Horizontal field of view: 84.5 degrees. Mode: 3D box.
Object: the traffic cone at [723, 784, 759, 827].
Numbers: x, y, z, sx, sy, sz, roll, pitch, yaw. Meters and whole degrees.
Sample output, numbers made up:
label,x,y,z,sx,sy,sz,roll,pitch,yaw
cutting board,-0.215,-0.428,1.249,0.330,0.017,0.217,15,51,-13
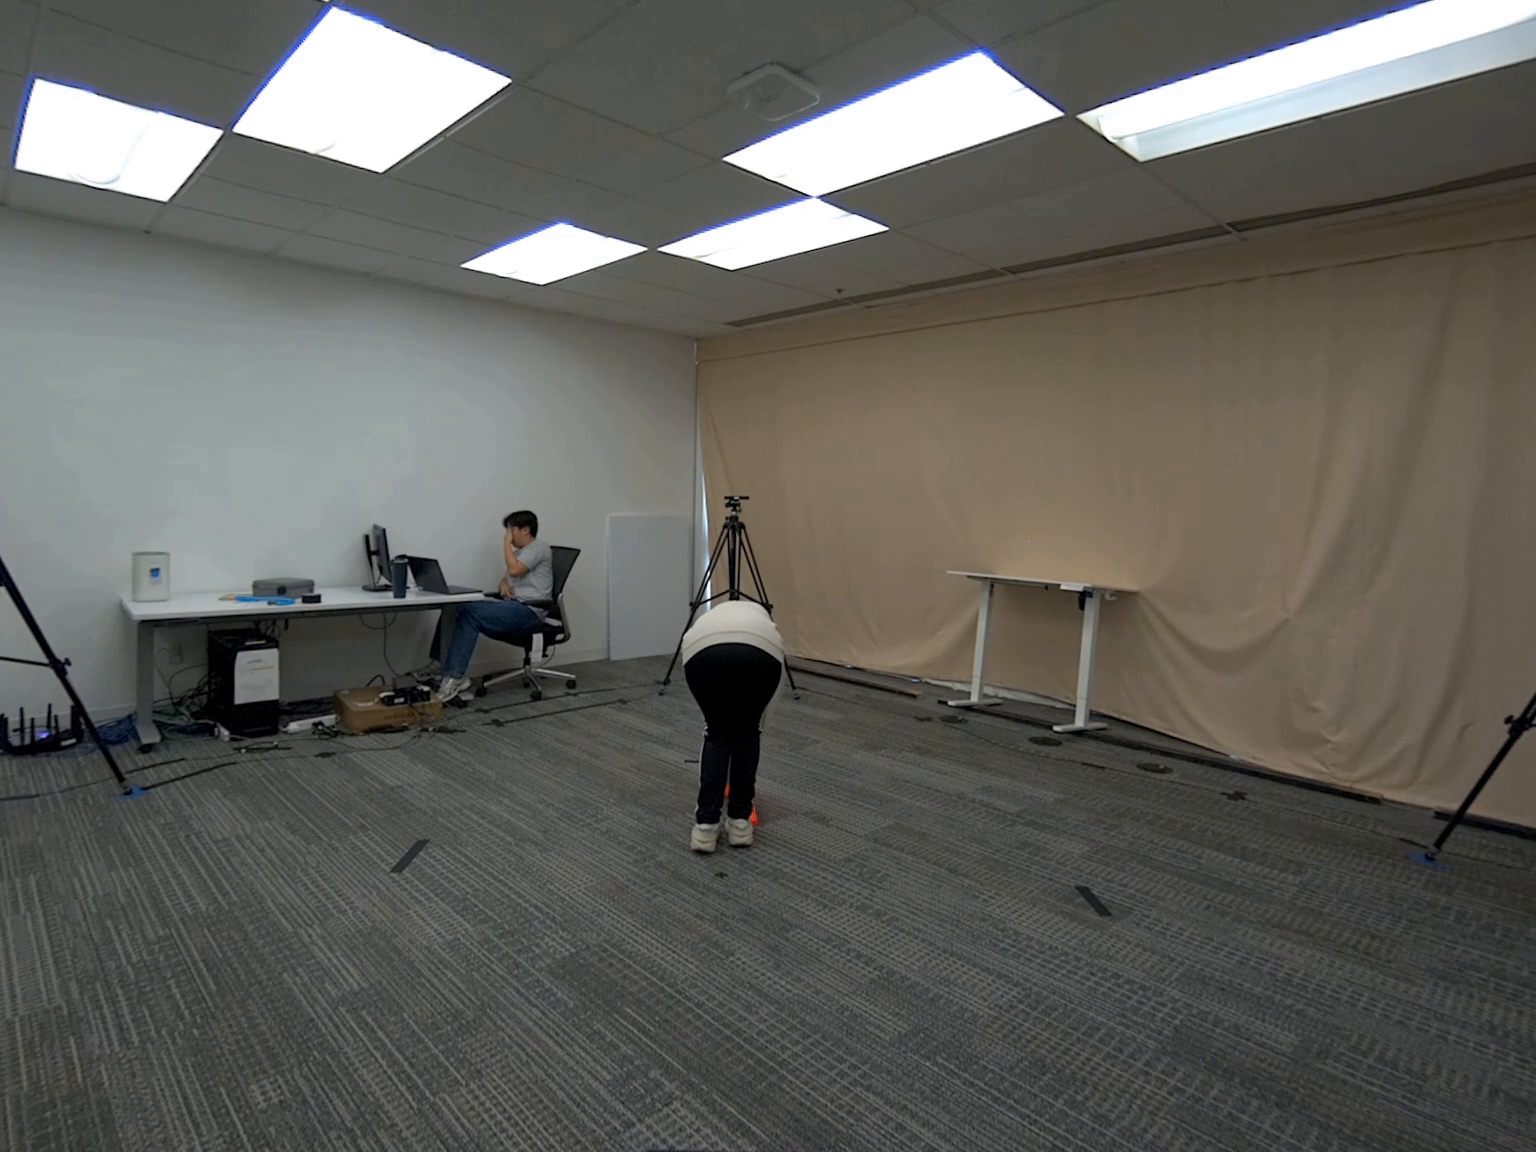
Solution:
label,x,y,z,sx,sy,sz,roll,pitch,yaw
traffic cone,-0.124,0.989,3.756,0.202,0.201,0.393,-13,22,-12
